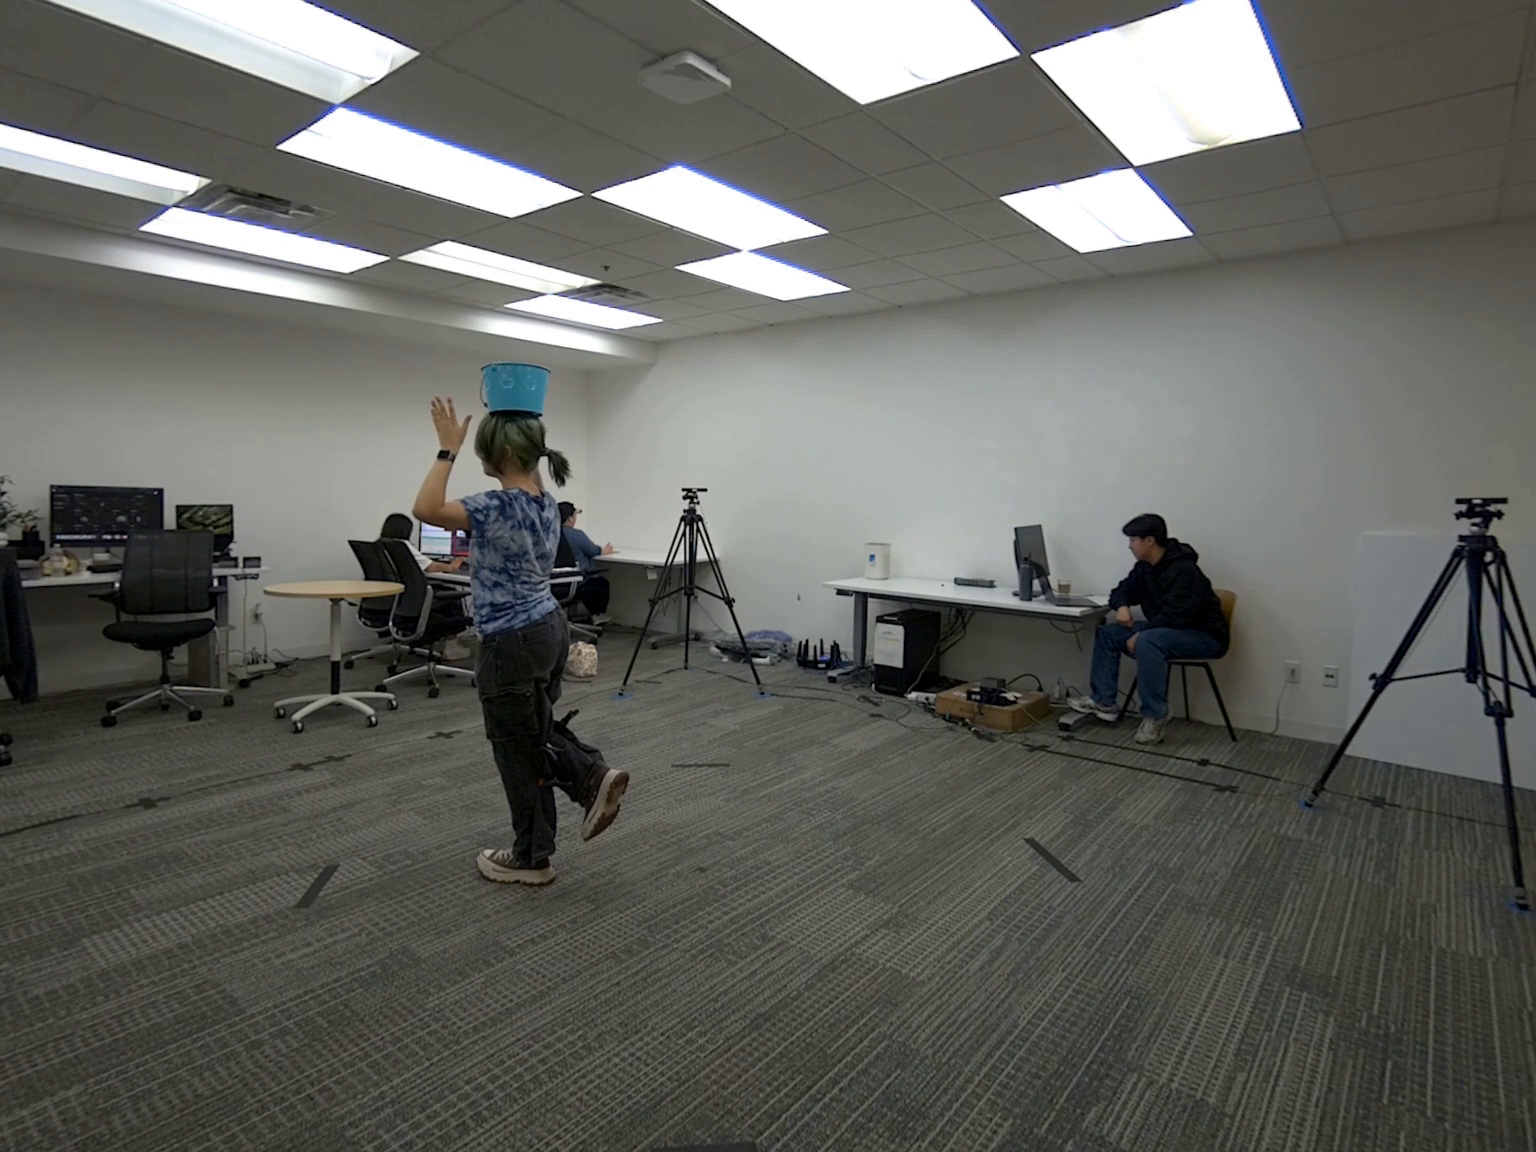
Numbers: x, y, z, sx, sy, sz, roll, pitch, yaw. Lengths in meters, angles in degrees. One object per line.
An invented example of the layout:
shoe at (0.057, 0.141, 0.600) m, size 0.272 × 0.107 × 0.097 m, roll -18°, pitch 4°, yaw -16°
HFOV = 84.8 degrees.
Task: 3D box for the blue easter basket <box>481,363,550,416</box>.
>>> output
blue easter basket at (-0.873, -0.627, 2.898) m, size 0.243 × 0.156 × 0.244 m, roll 0°, pitch 3°, yaw -2°
